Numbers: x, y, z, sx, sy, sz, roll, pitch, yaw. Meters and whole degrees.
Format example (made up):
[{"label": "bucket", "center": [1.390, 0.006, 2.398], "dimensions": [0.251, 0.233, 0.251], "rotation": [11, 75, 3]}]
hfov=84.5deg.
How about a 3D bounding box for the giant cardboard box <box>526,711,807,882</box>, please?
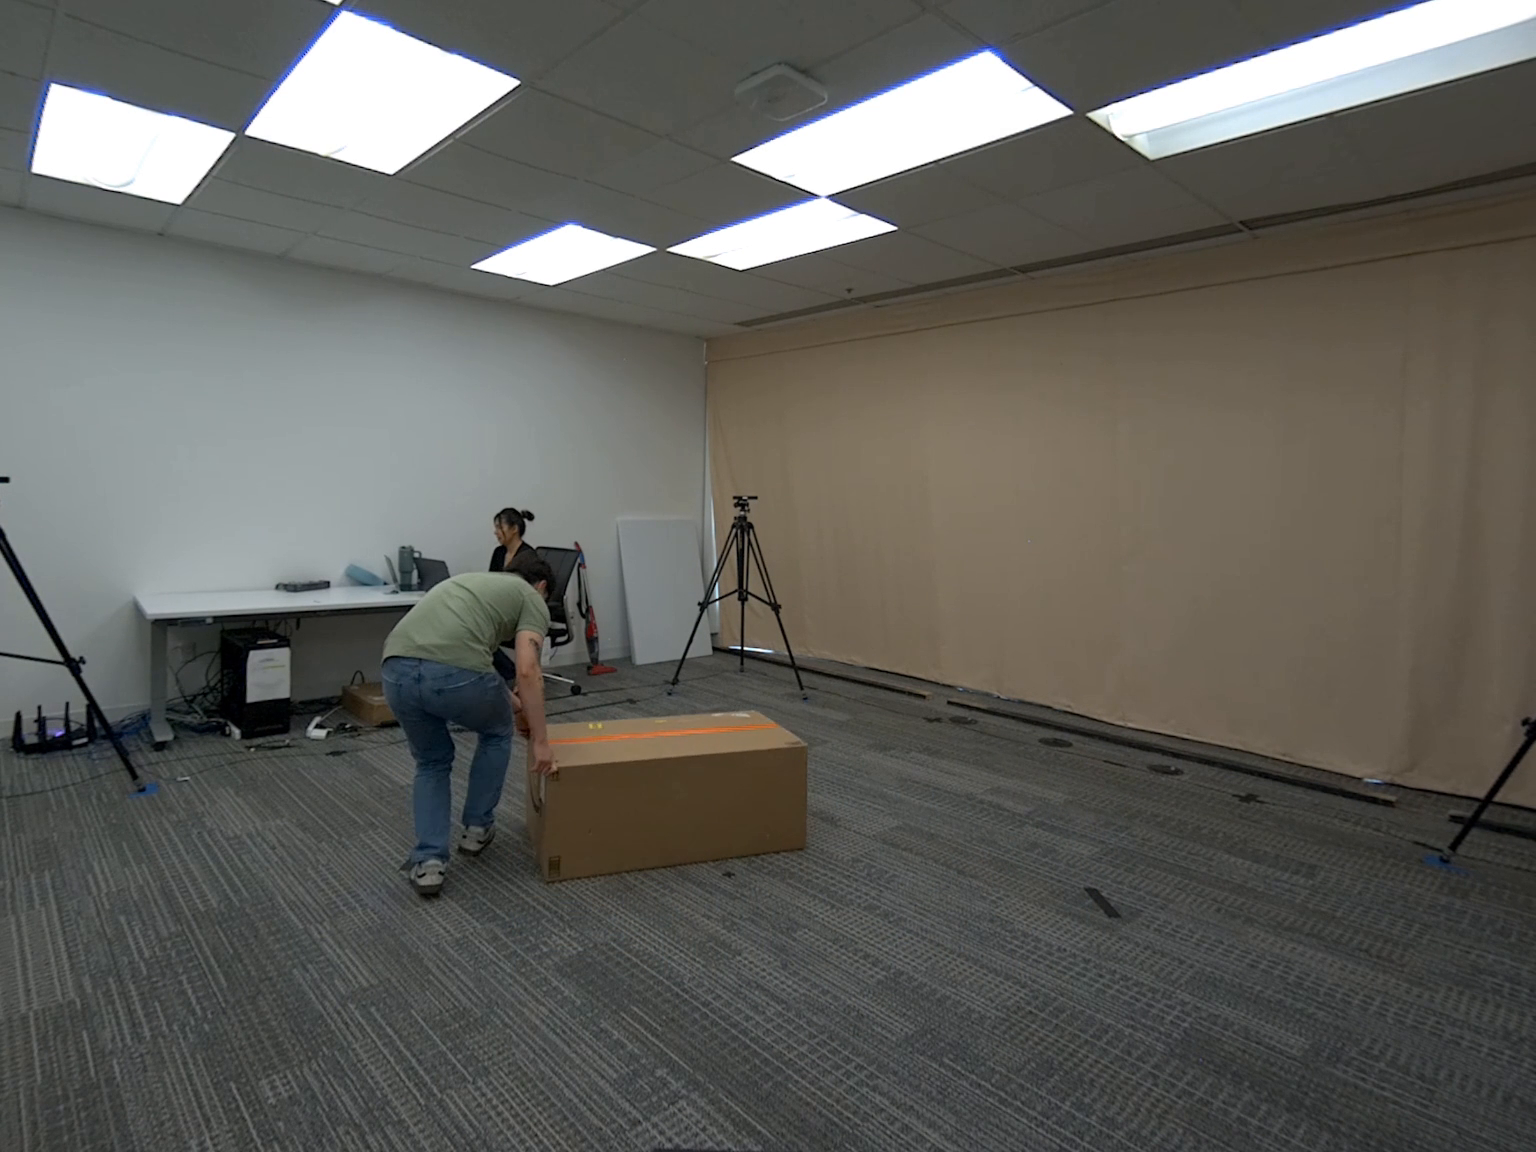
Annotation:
[{"label": "giant cardboard box", "center": [-0.427, 0.853, 3.429], "dimensions": [1.010, 0.425, 0.588], "rotation": [-1, 4, -21]}]
